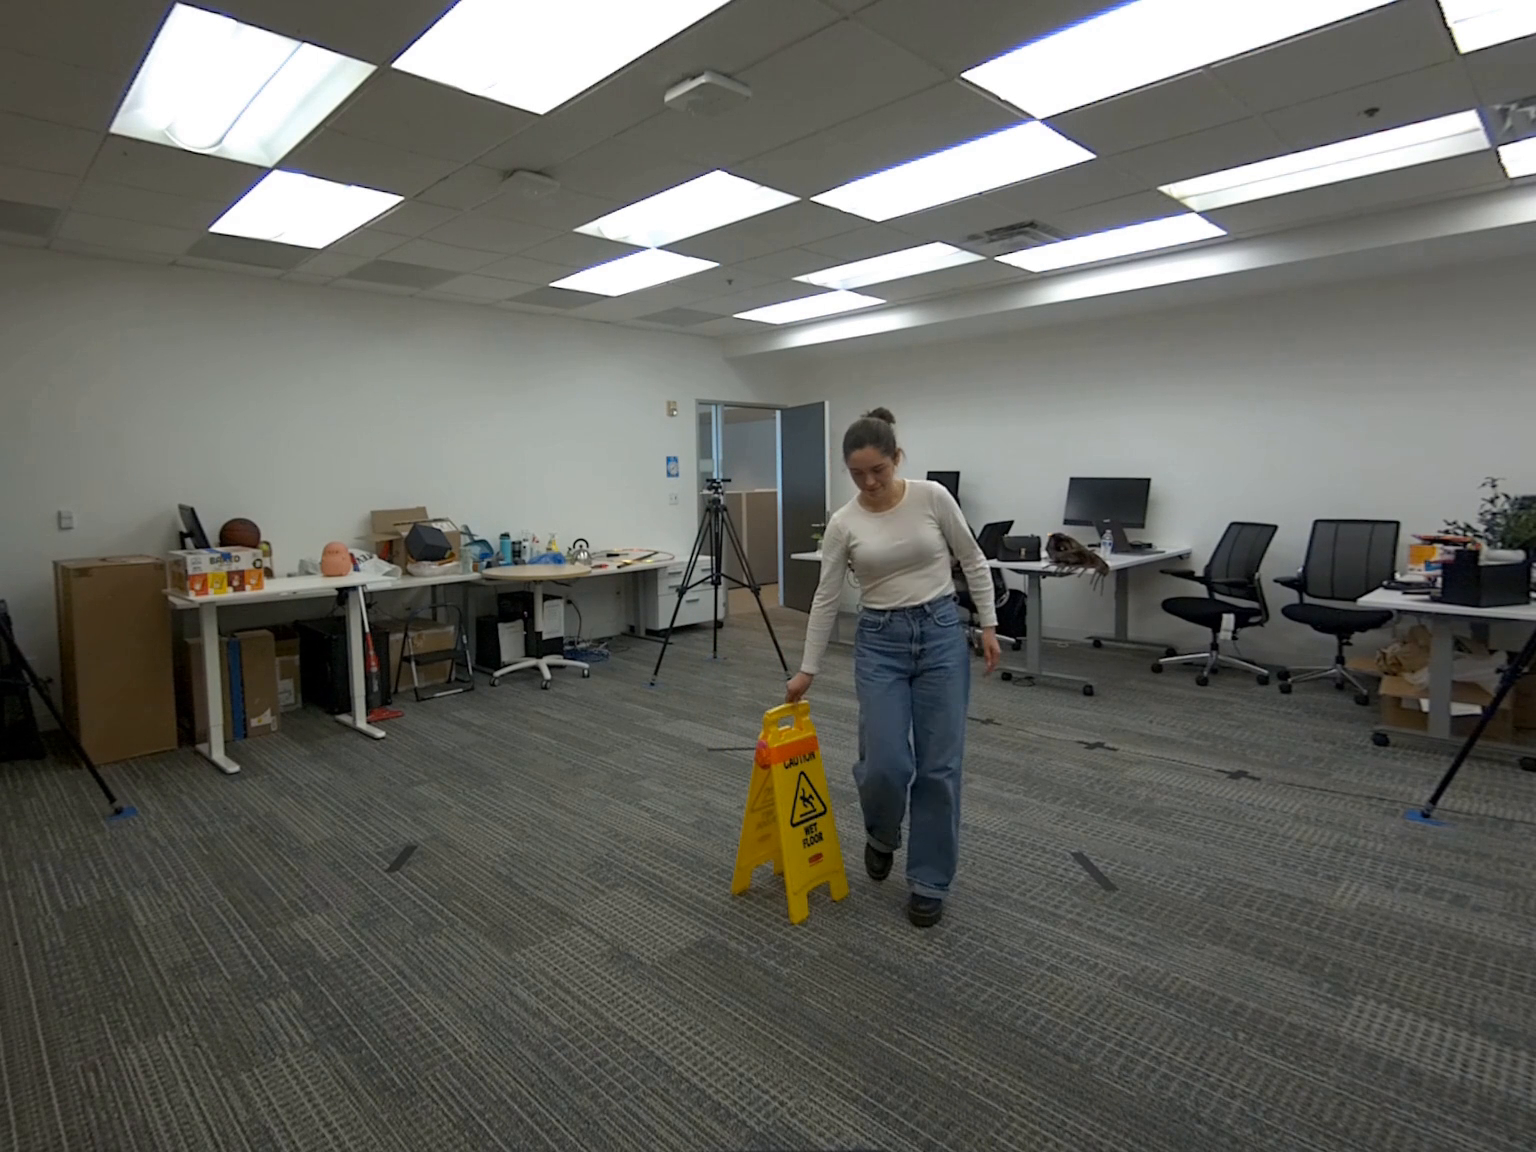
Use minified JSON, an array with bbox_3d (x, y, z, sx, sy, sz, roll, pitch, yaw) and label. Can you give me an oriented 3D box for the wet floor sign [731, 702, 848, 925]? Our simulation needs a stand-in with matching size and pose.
[{"bbox_3d":[0.074,0.747,2.844,0.275,0.643,0.299,-6,7,-44],"label":"wet floor sign"}]
